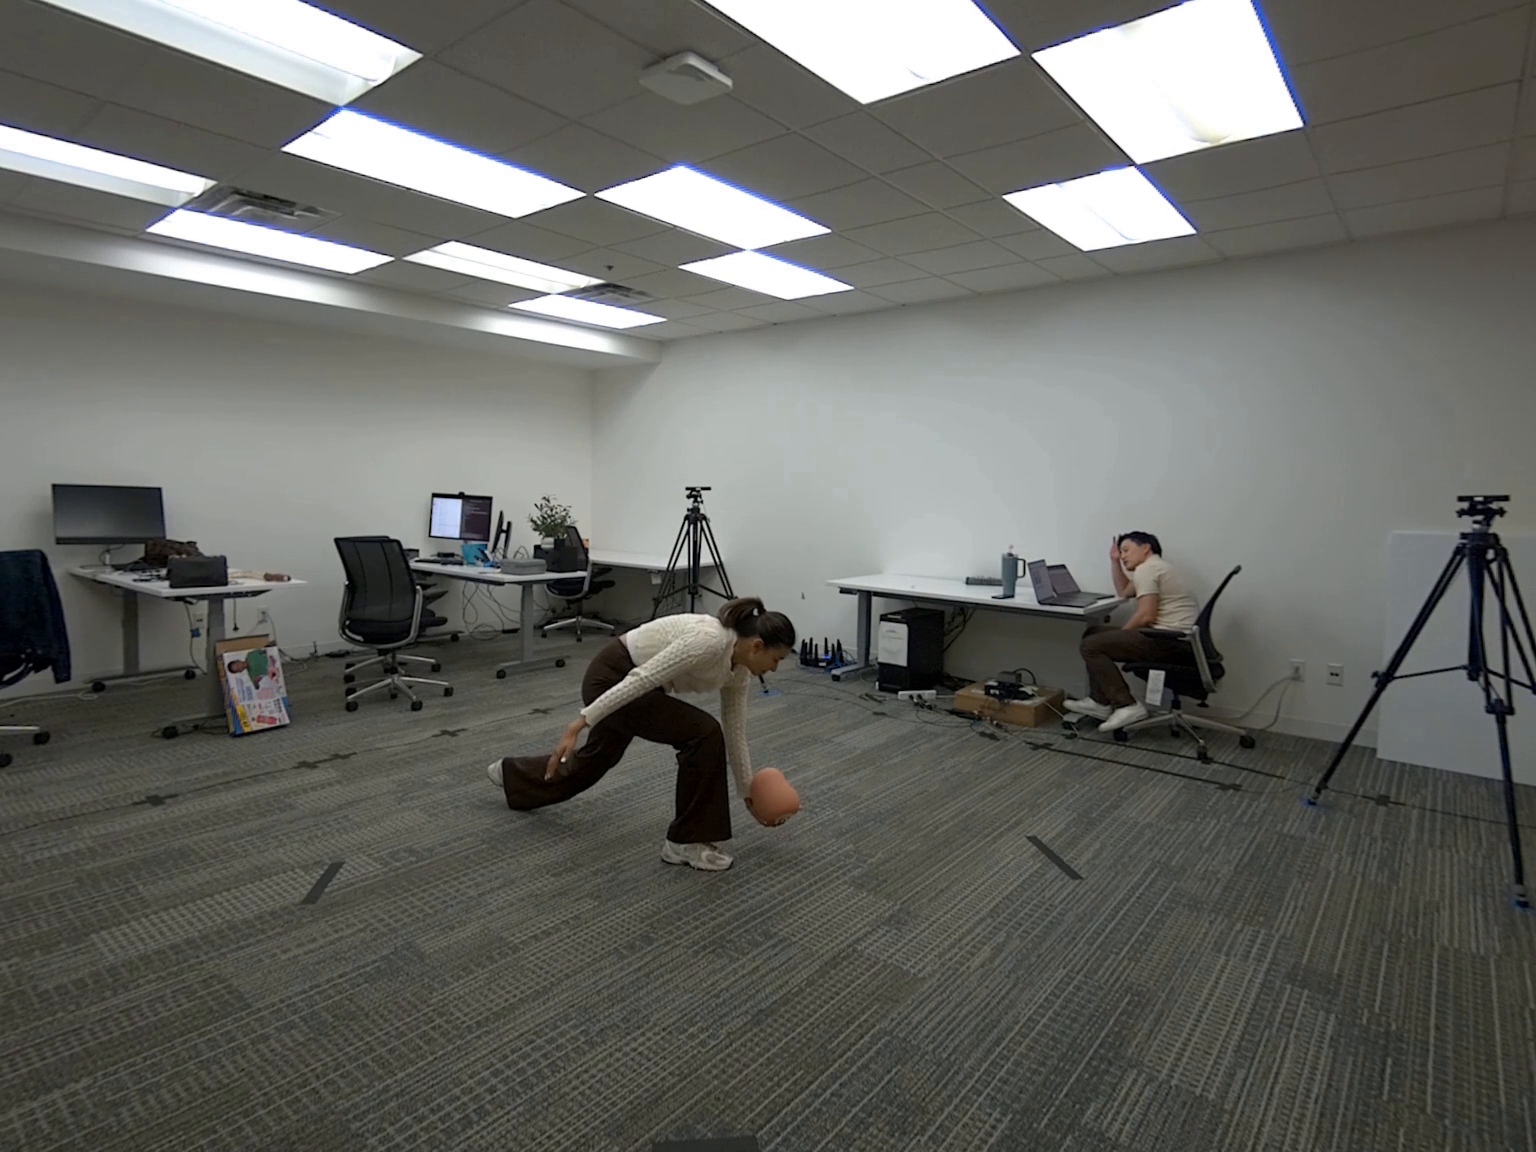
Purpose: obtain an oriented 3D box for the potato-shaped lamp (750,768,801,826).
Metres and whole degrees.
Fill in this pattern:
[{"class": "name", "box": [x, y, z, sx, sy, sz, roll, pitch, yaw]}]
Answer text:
[{"class": "potato-shaped lamp", "box": [0.010, 0.838, 3.281, 0.167, 0.204, 0.164, -6, -28, -32]}]
